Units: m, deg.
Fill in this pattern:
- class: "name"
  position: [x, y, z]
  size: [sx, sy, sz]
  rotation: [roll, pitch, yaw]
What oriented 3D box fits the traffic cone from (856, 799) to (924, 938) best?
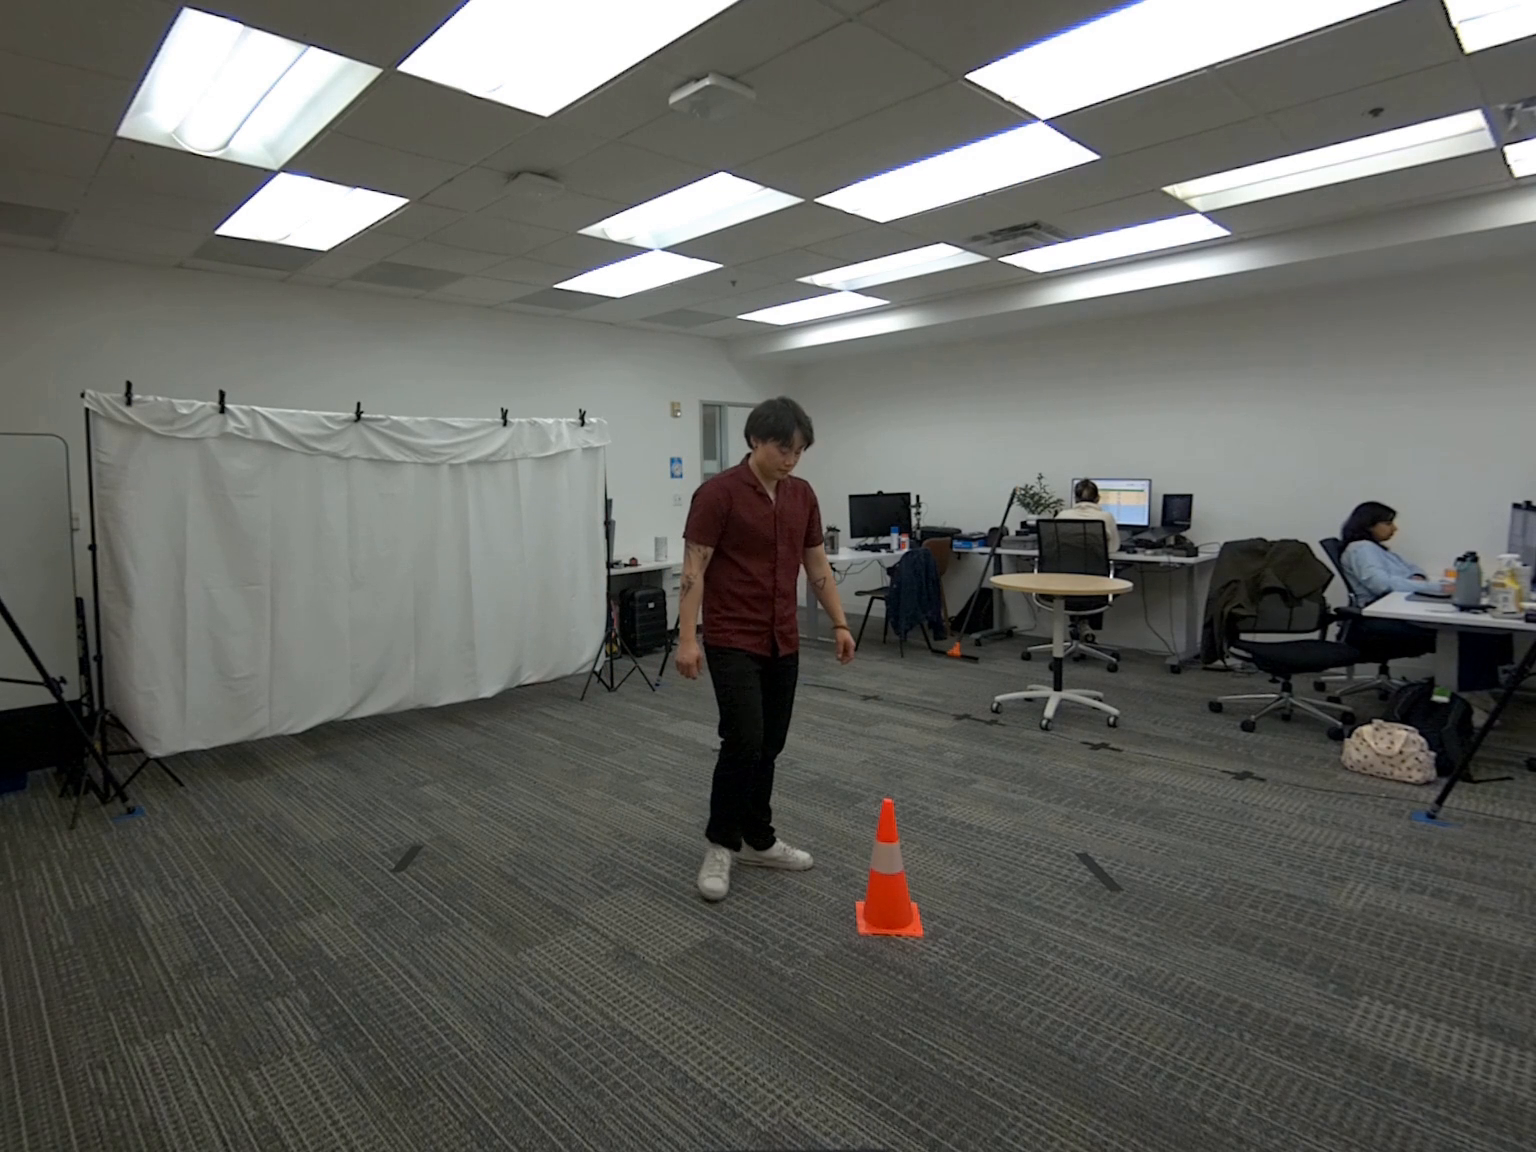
- class: "traffic cone"
  position: [0.392, 0.904, 2.692]
  size: [0.207, 0.382, 0.202]
  rotation: [2, 5, 10]
